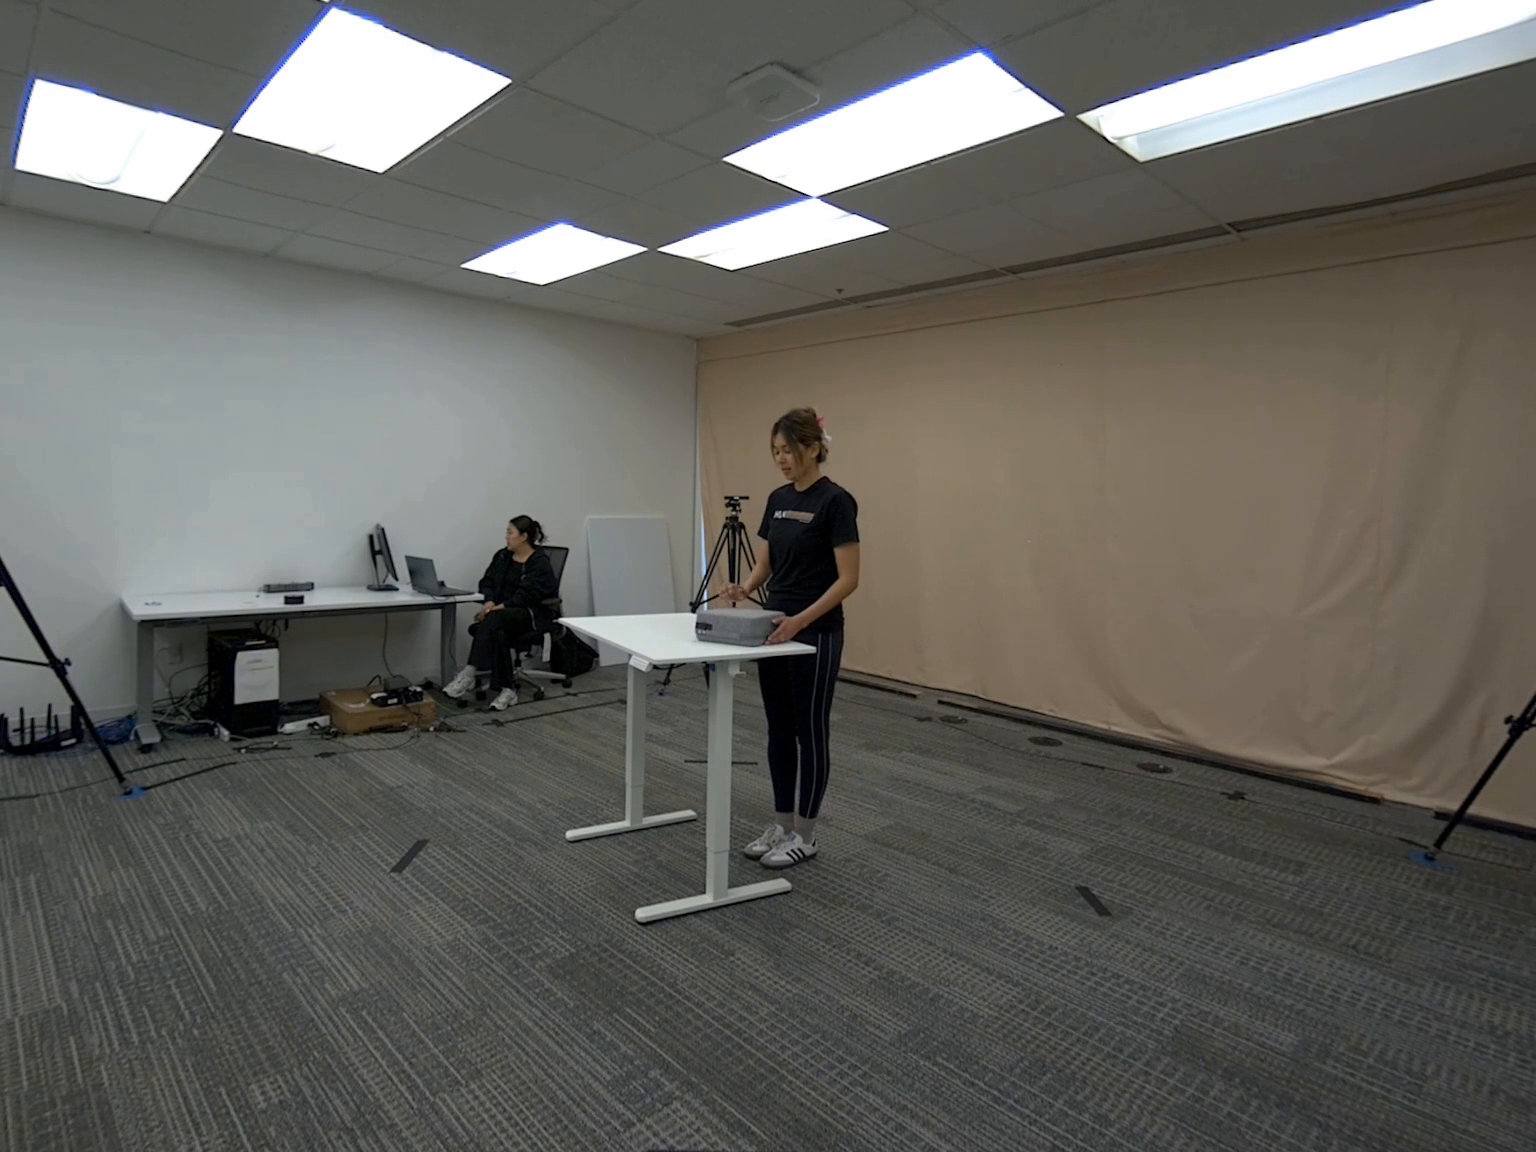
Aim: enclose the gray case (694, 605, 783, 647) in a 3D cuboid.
[{"bbox_3d":[-0.104,0.178,3.003,0.262,0.104,0.256,3,4,29],"label":"gray case"}]
